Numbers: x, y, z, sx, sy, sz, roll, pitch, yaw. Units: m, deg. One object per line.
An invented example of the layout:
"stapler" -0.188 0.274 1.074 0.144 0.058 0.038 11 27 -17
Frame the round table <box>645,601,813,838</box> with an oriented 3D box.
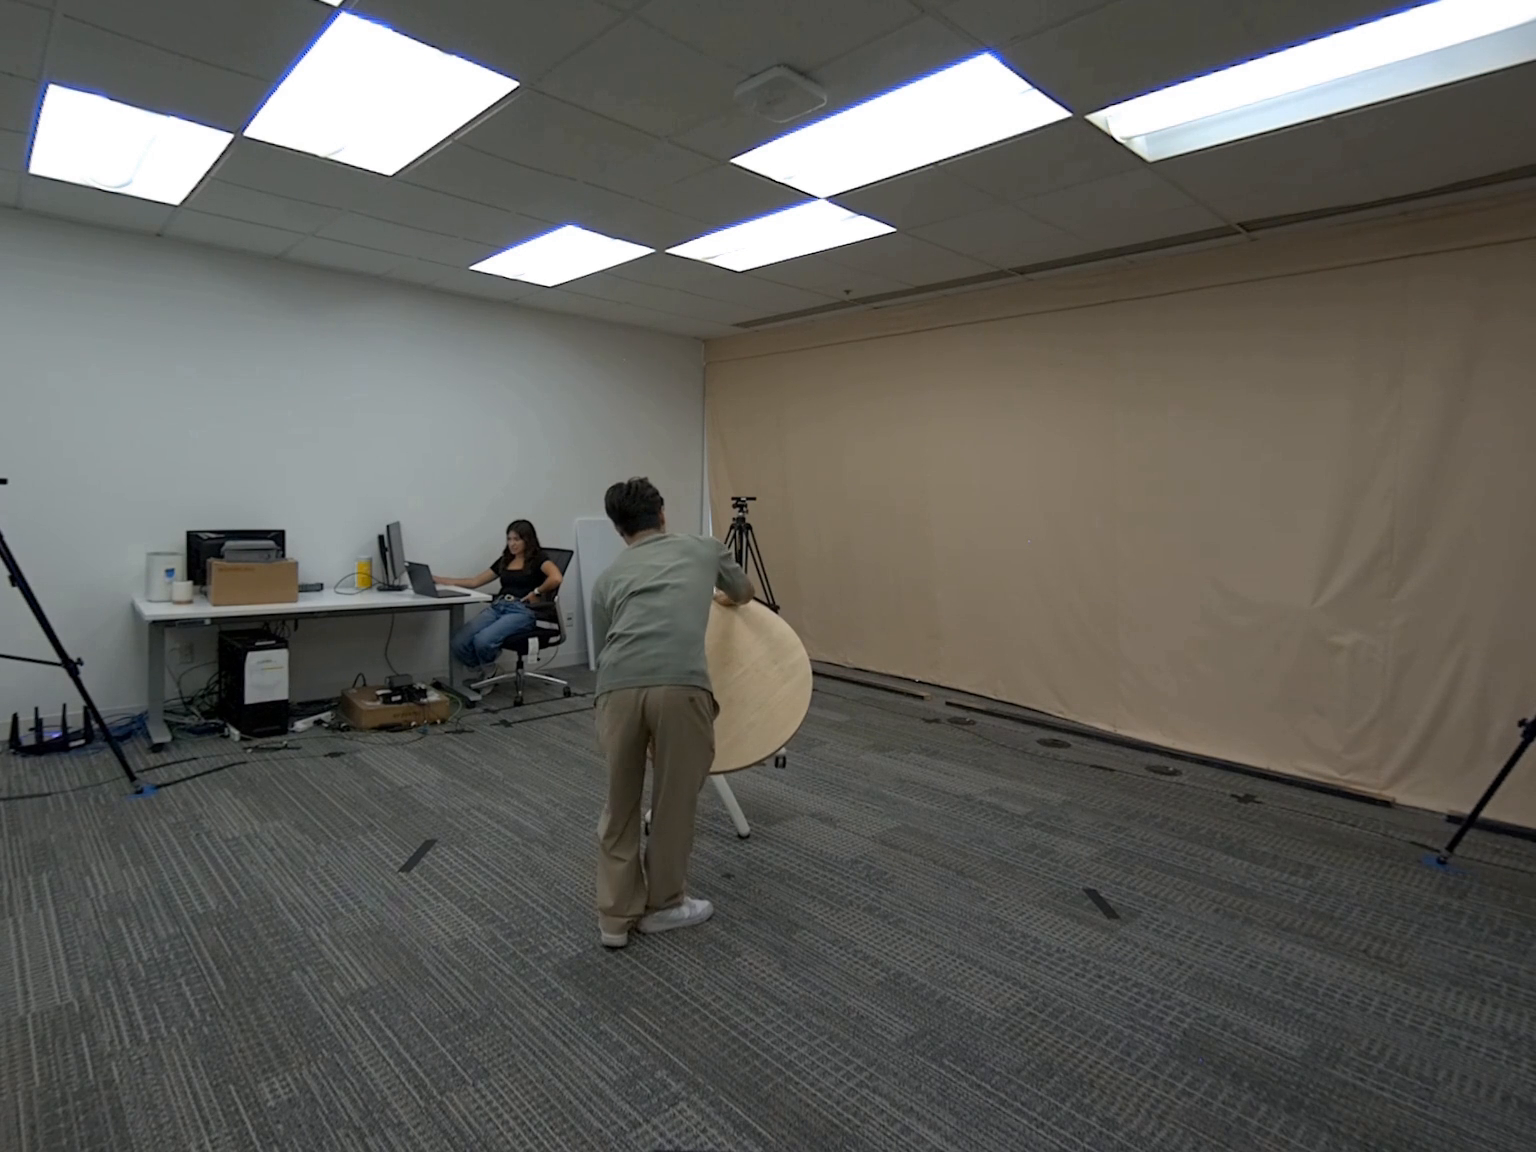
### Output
"round table" -0.257 0.601 3.381 0.784 0.802 0.770 1 -41 -3
